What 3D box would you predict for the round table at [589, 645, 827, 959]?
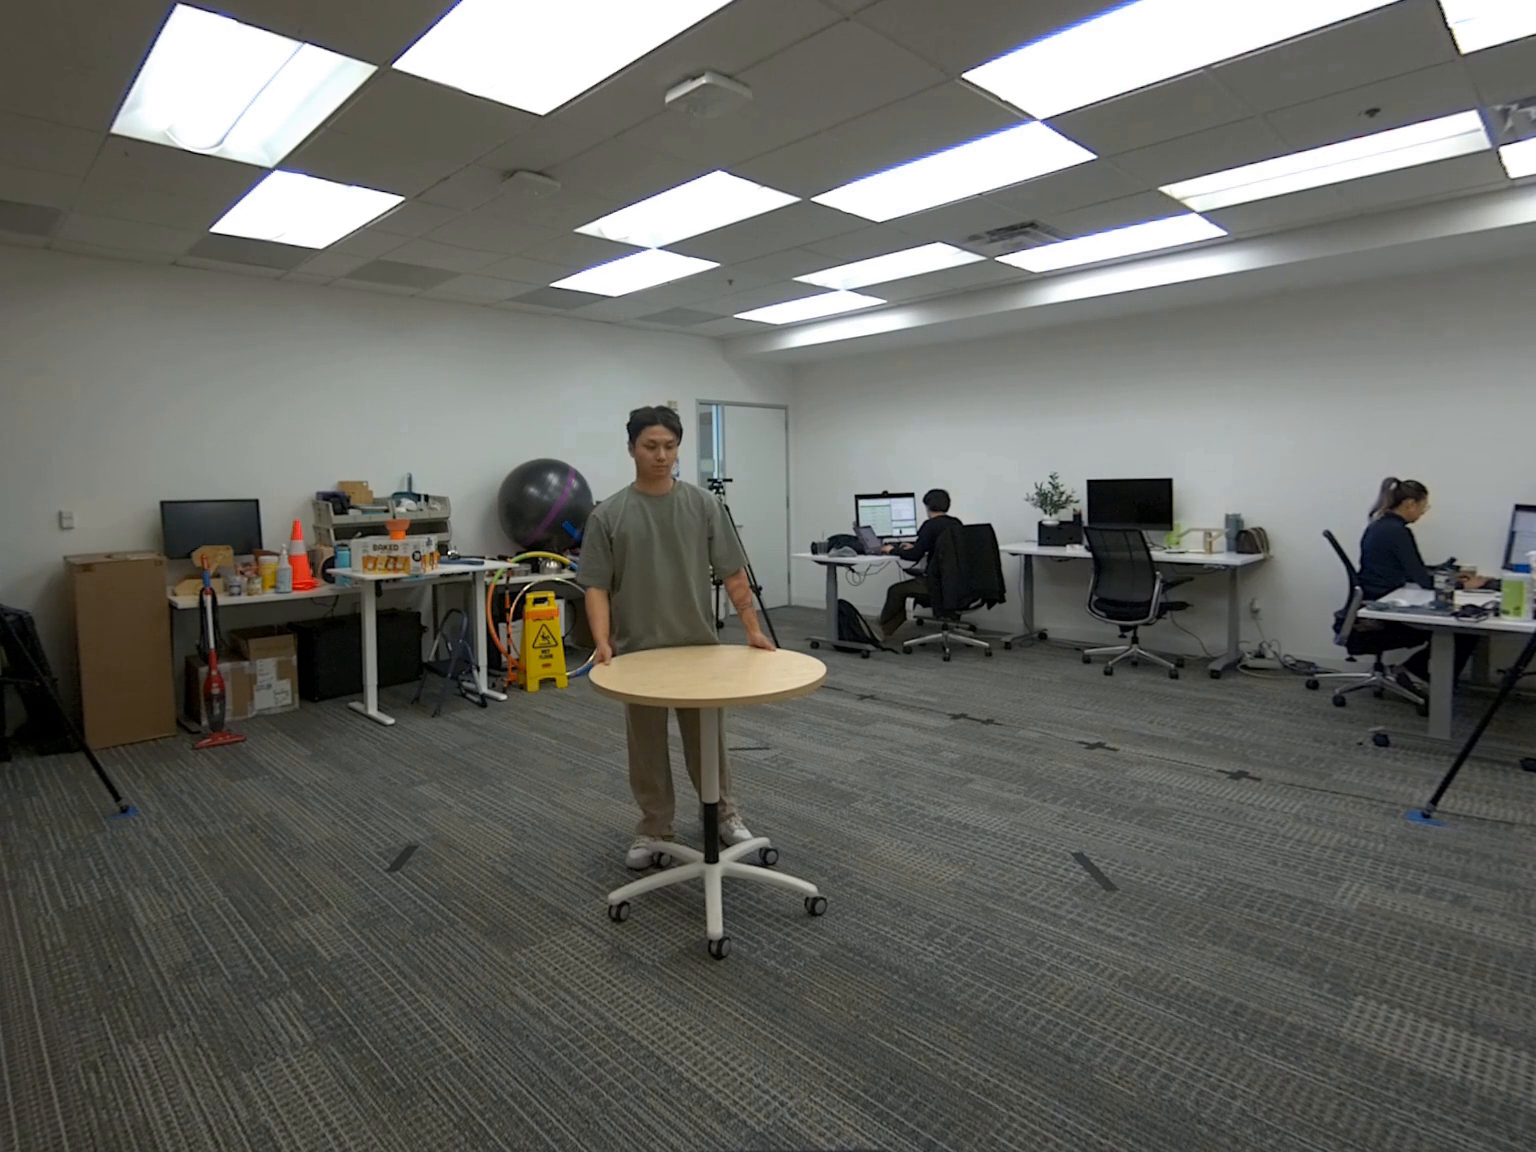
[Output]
[{"bbox_3d":[-0.173,0.691,2.790,0.784,0.783,0.789,-1,5,-2],"label":"round table"}]
